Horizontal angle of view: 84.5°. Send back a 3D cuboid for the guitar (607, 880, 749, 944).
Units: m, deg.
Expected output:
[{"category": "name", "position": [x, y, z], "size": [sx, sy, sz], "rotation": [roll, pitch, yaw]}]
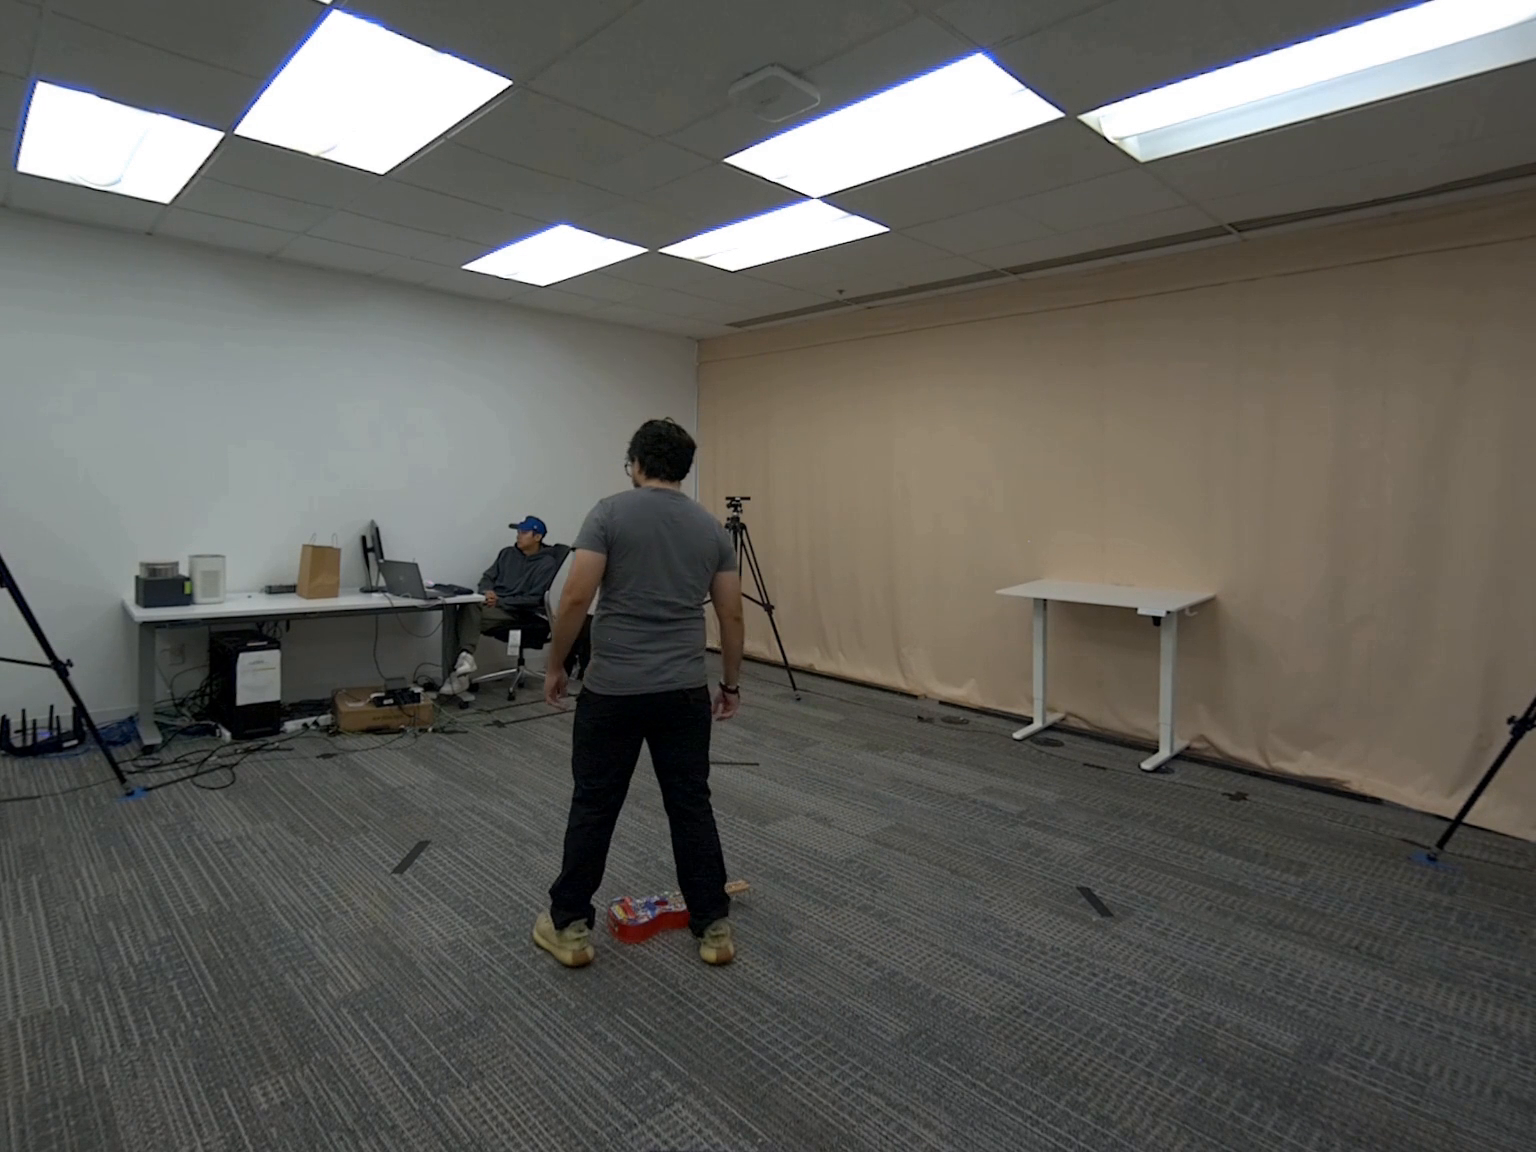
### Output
[{"category": "guitar", "position": [-0.282, 1.102, 2.768], "size": [0.490, 0.070, 0.196], "rotation": [-1, 5, -19]}]
